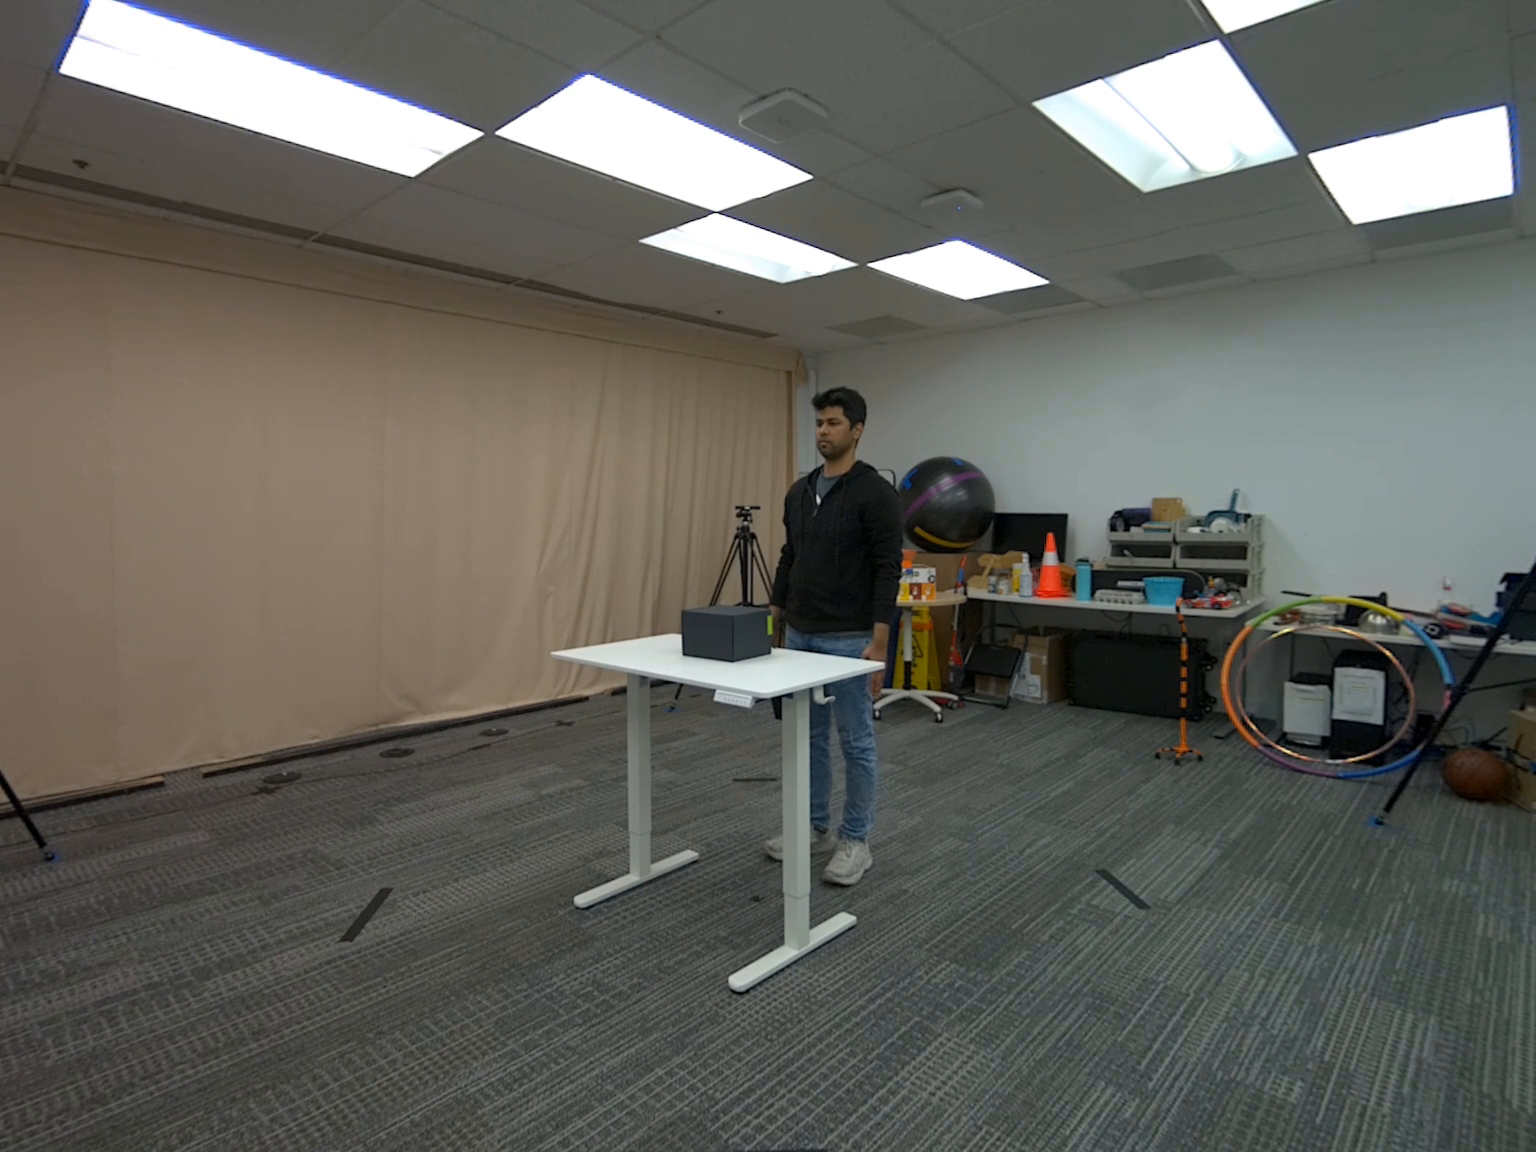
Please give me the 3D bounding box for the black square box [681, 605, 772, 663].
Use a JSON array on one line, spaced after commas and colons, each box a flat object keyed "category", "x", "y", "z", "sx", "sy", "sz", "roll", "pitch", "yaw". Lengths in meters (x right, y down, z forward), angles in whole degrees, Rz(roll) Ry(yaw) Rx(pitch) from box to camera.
[{"category": "black square box", "x": -0.138, "y": 0.192, "z": 2.885, "sx": 0.235, "sy": 0.155, "sz": 0.210, "roll": 3, "pitch": 5, "yaw": 38}]
